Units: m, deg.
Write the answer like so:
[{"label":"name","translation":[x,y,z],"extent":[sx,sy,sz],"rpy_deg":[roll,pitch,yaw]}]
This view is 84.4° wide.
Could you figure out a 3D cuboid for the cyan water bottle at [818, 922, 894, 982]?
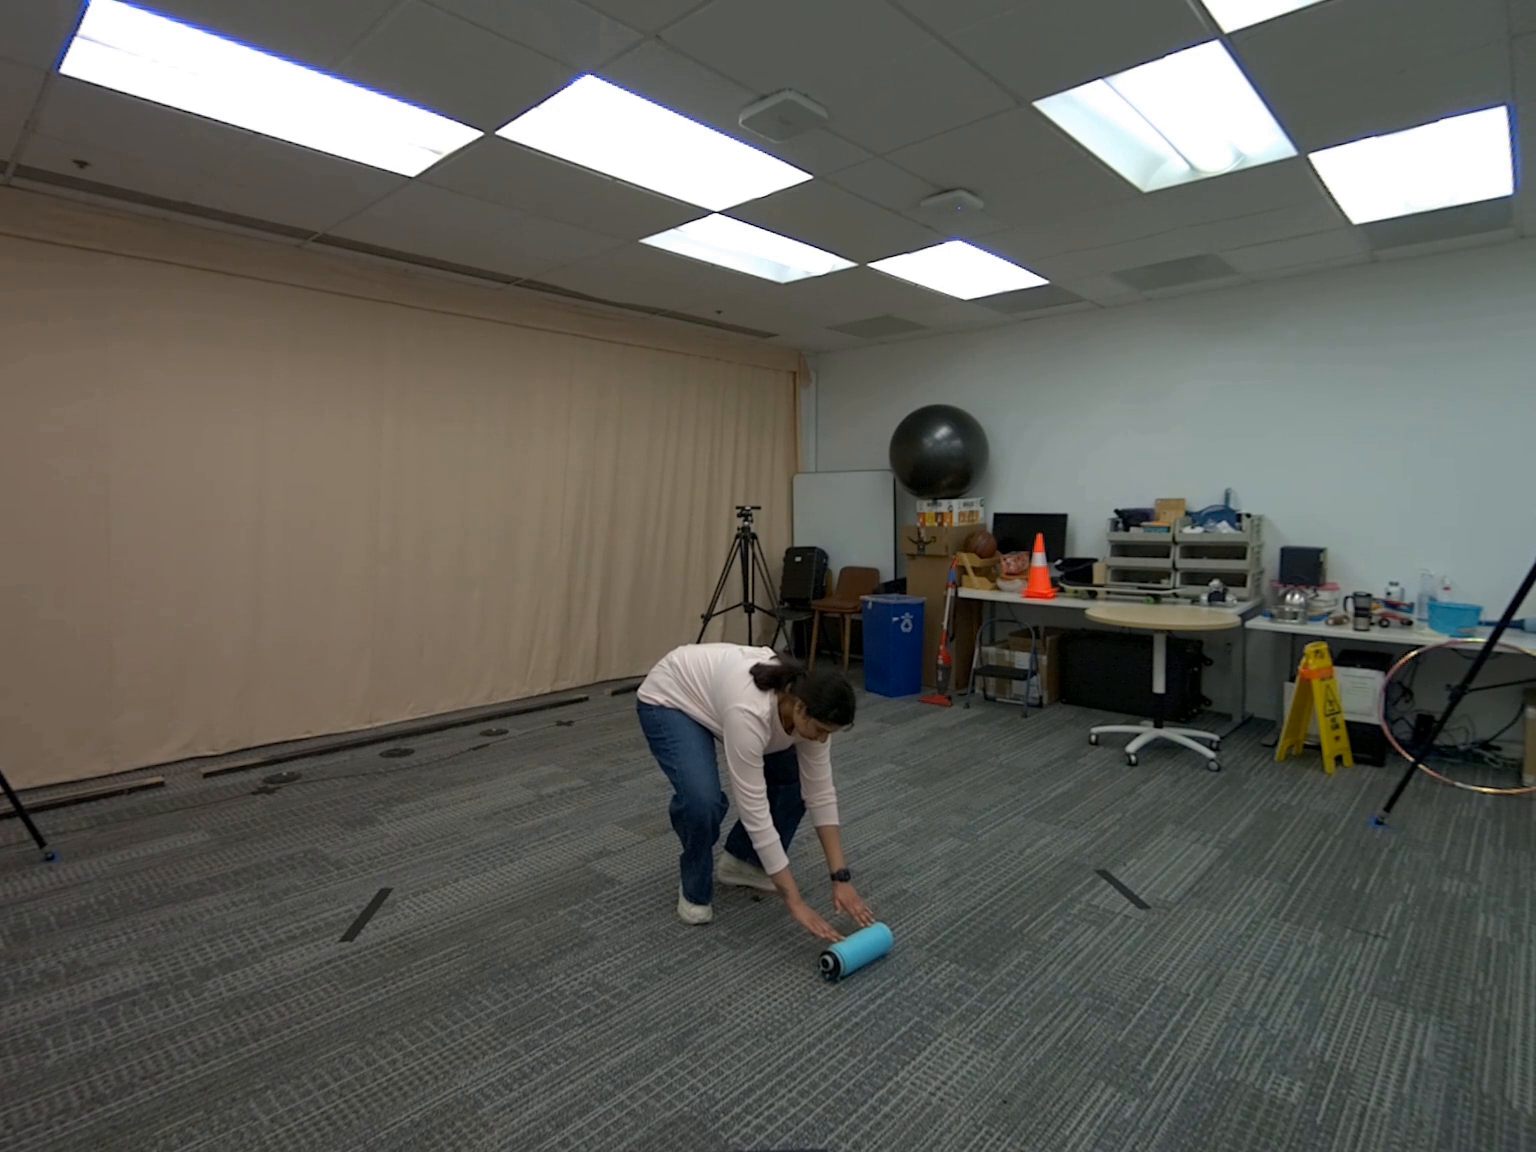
[{"label":"cyan water bottle","translation":[0.264,1.126,2.542],"extent":[0.275,0.092,0.095],"rpy_deg":[-4,5,-44]}]
